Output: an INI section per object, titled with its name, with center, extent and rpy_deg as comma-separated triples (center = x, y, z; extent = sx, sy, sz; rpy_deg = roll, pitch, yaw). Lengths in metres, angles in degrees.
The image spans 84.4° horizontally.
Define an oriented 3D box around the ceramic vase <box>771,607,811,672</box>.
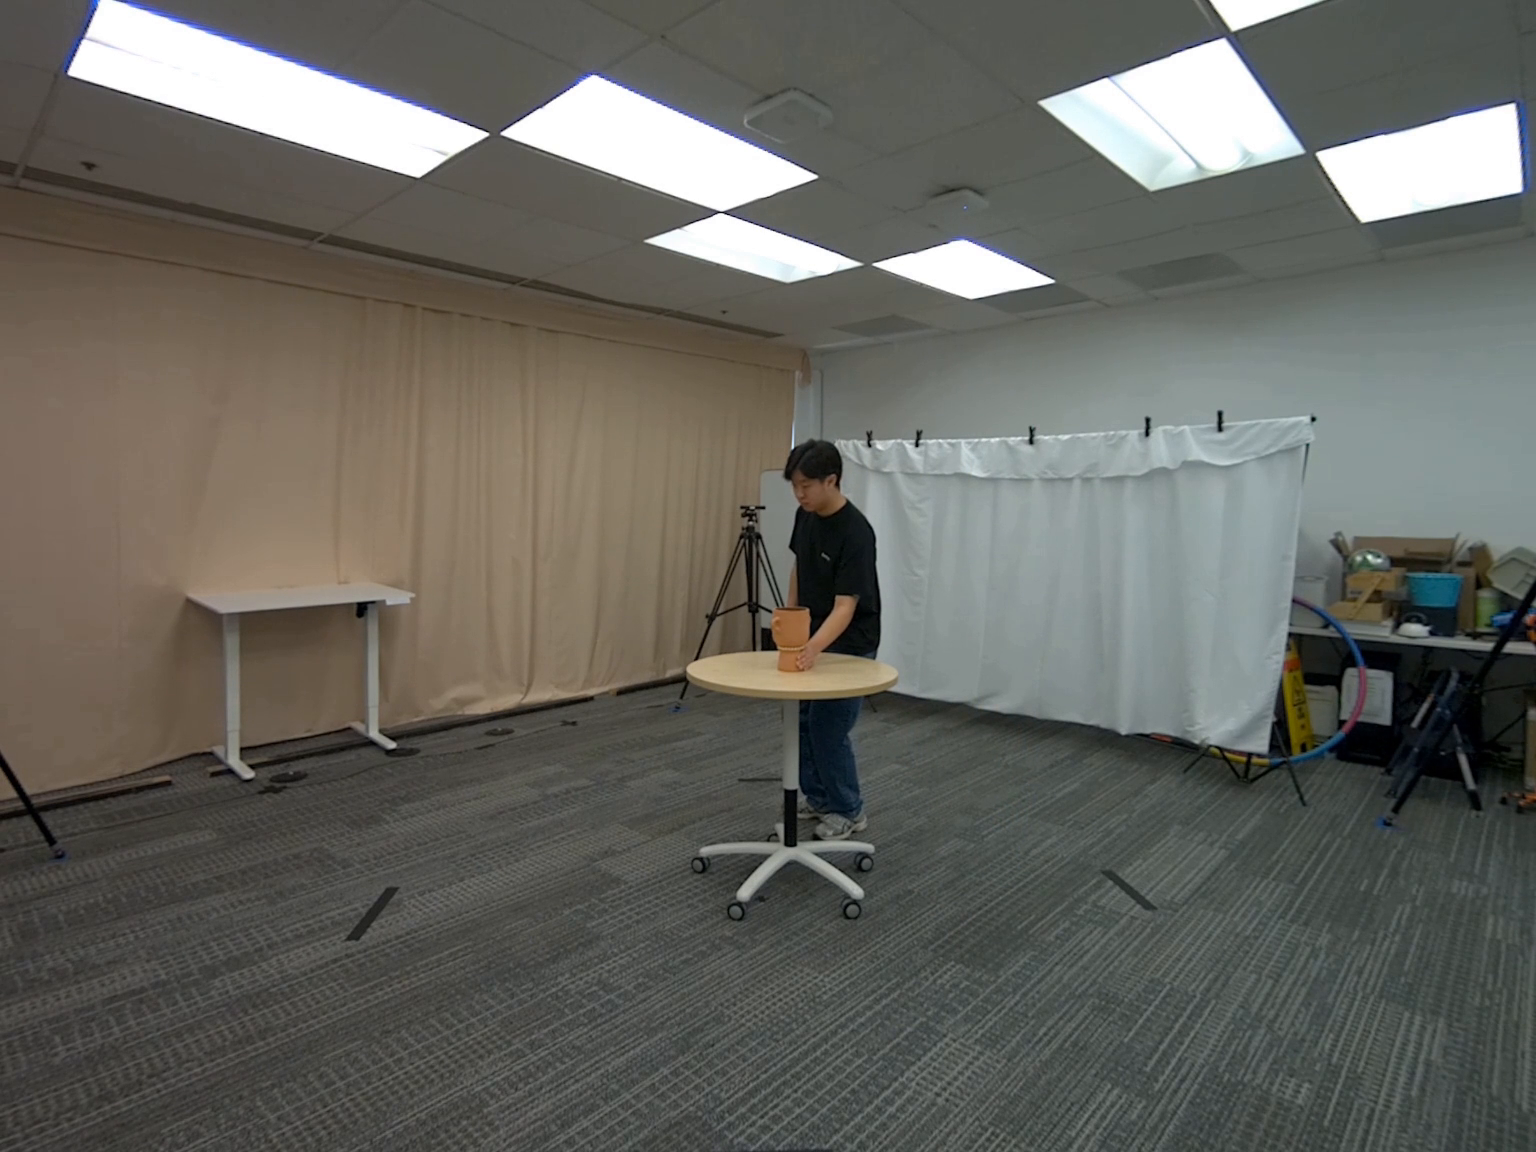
[ceramic vase]
center = 0.088, 0.229, 3.056
extent = 0.158, 0.219, 0.136
rpy_deg = 0, 4, -5
